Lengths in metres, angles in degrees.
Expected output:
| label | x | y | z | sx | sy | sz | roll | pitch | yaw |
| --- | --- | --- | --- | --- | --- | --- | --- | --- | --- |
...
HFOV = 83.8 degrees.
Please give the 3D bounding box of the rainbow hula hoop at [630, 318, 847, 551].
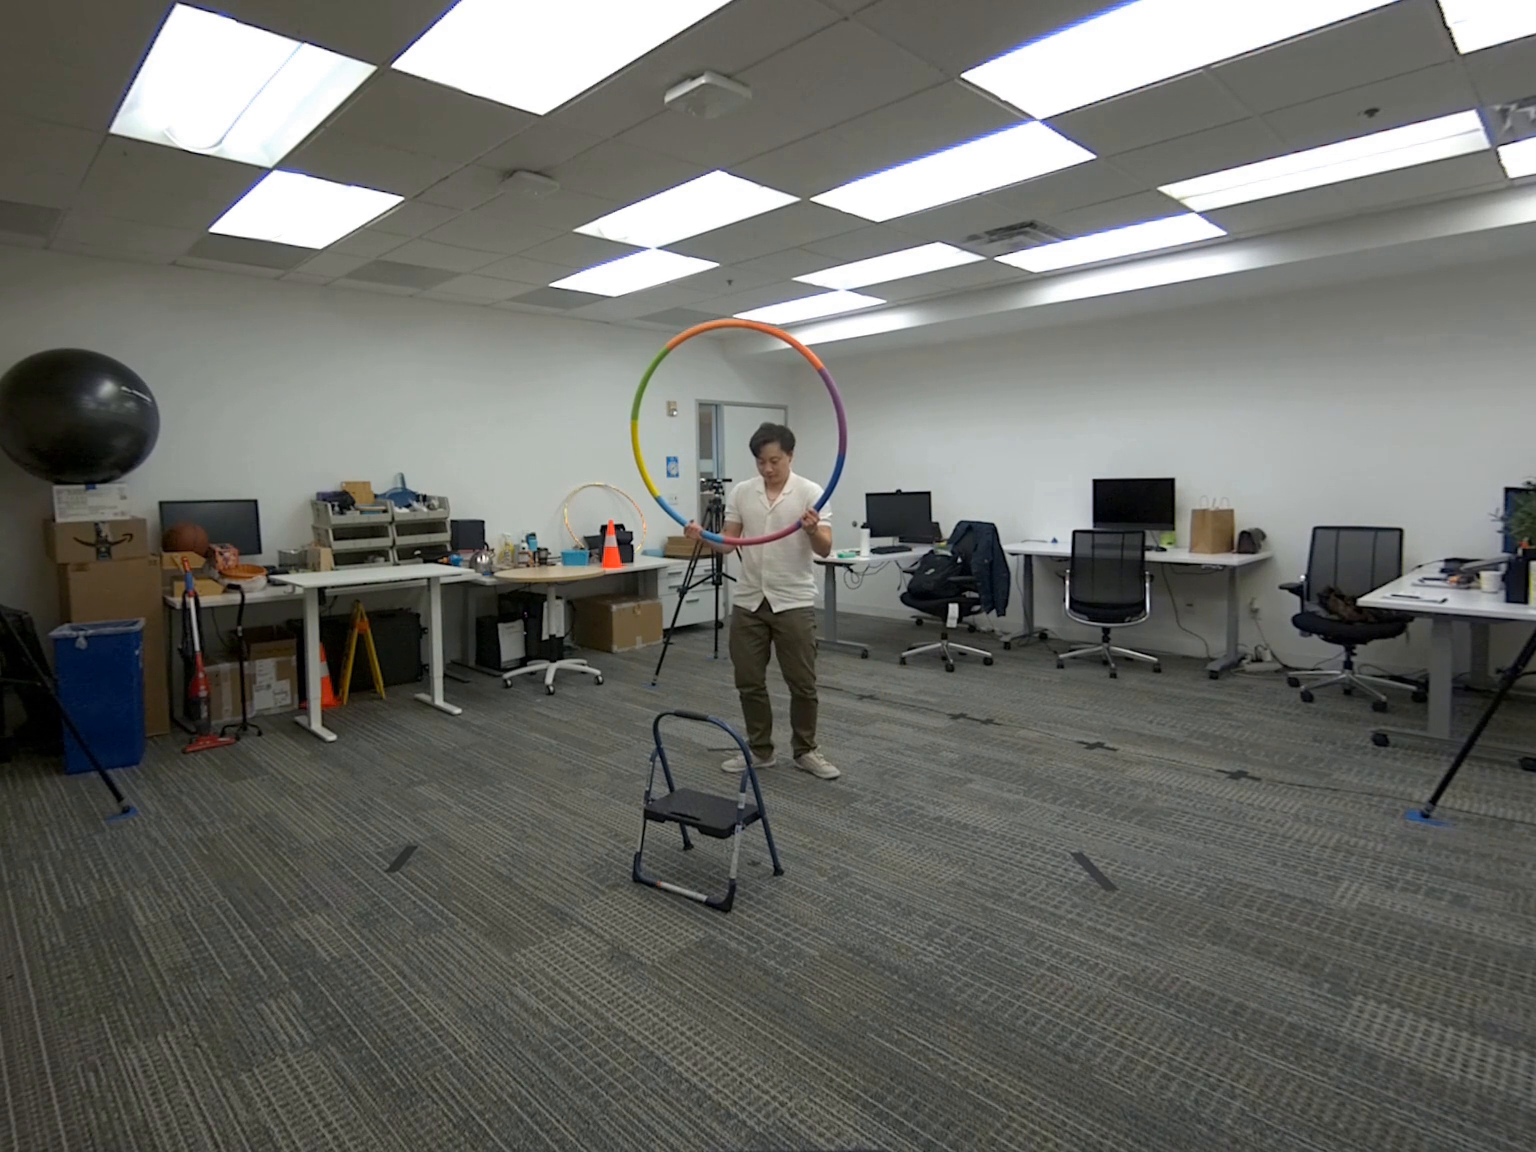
| label | x | y | z | sx | sy | sz | roll | pitch | yaw |
| --- | --- | --- | --- | --- | --- | --- | --- | --- | --- |
| rainbow hula hoop | -0.139 | -0.604 | 3.725 | 0.997 | 0.965 | 0.035 | 1 | 15 | 20 |
